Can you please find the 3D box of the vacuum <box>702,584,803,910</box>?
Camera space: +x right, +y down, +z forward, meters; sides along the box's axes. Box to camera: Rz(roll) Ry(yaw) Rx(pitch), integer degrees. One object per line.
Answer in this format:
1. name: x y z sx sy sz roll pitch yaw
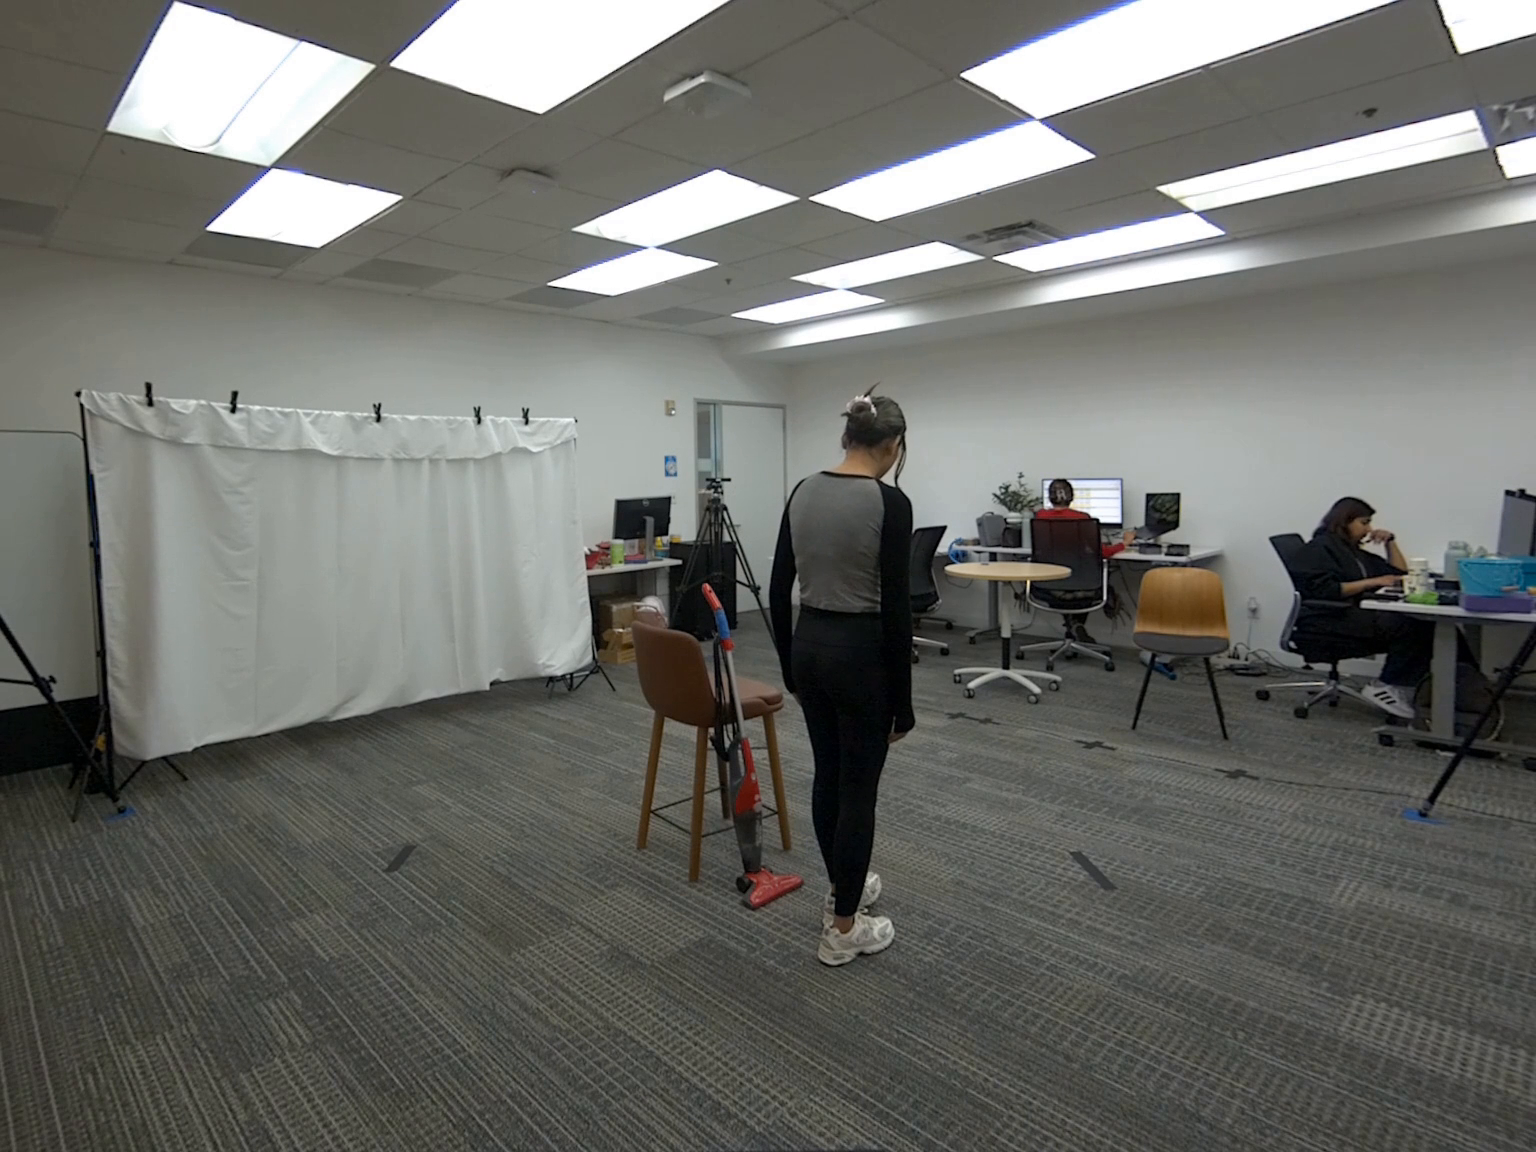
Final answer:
1. vacuum: -0.114 0.549 2.950 0.246 1.057 0.146 -6 -8 -34
